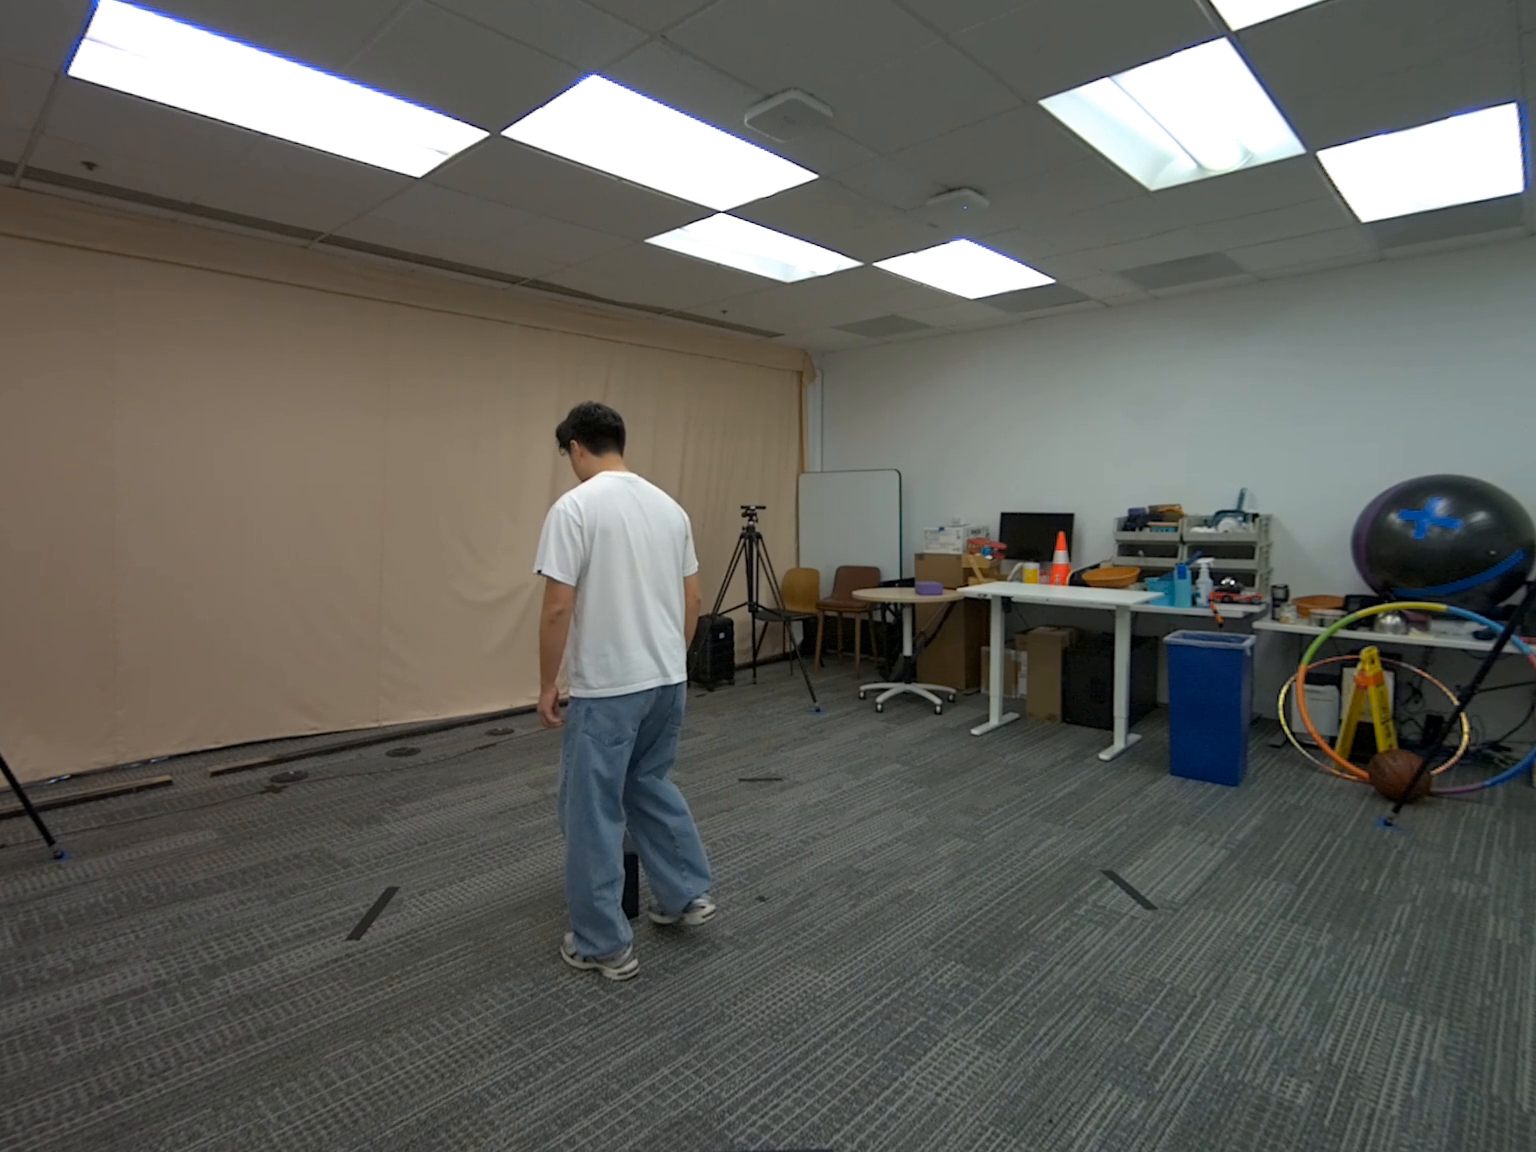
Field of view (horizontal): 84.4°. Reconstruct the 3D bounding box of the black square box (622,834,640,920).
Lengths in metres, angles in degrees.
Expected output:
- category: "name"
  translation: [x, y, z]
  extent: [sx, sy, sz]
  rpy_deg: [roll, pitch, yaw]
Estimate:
- category: "black square box"
  translation: [-0.545, 1.032, 2.919]
  extent: [0.152, 0.227, 0.222]
  rpy_deg: [0, 3, -22]
